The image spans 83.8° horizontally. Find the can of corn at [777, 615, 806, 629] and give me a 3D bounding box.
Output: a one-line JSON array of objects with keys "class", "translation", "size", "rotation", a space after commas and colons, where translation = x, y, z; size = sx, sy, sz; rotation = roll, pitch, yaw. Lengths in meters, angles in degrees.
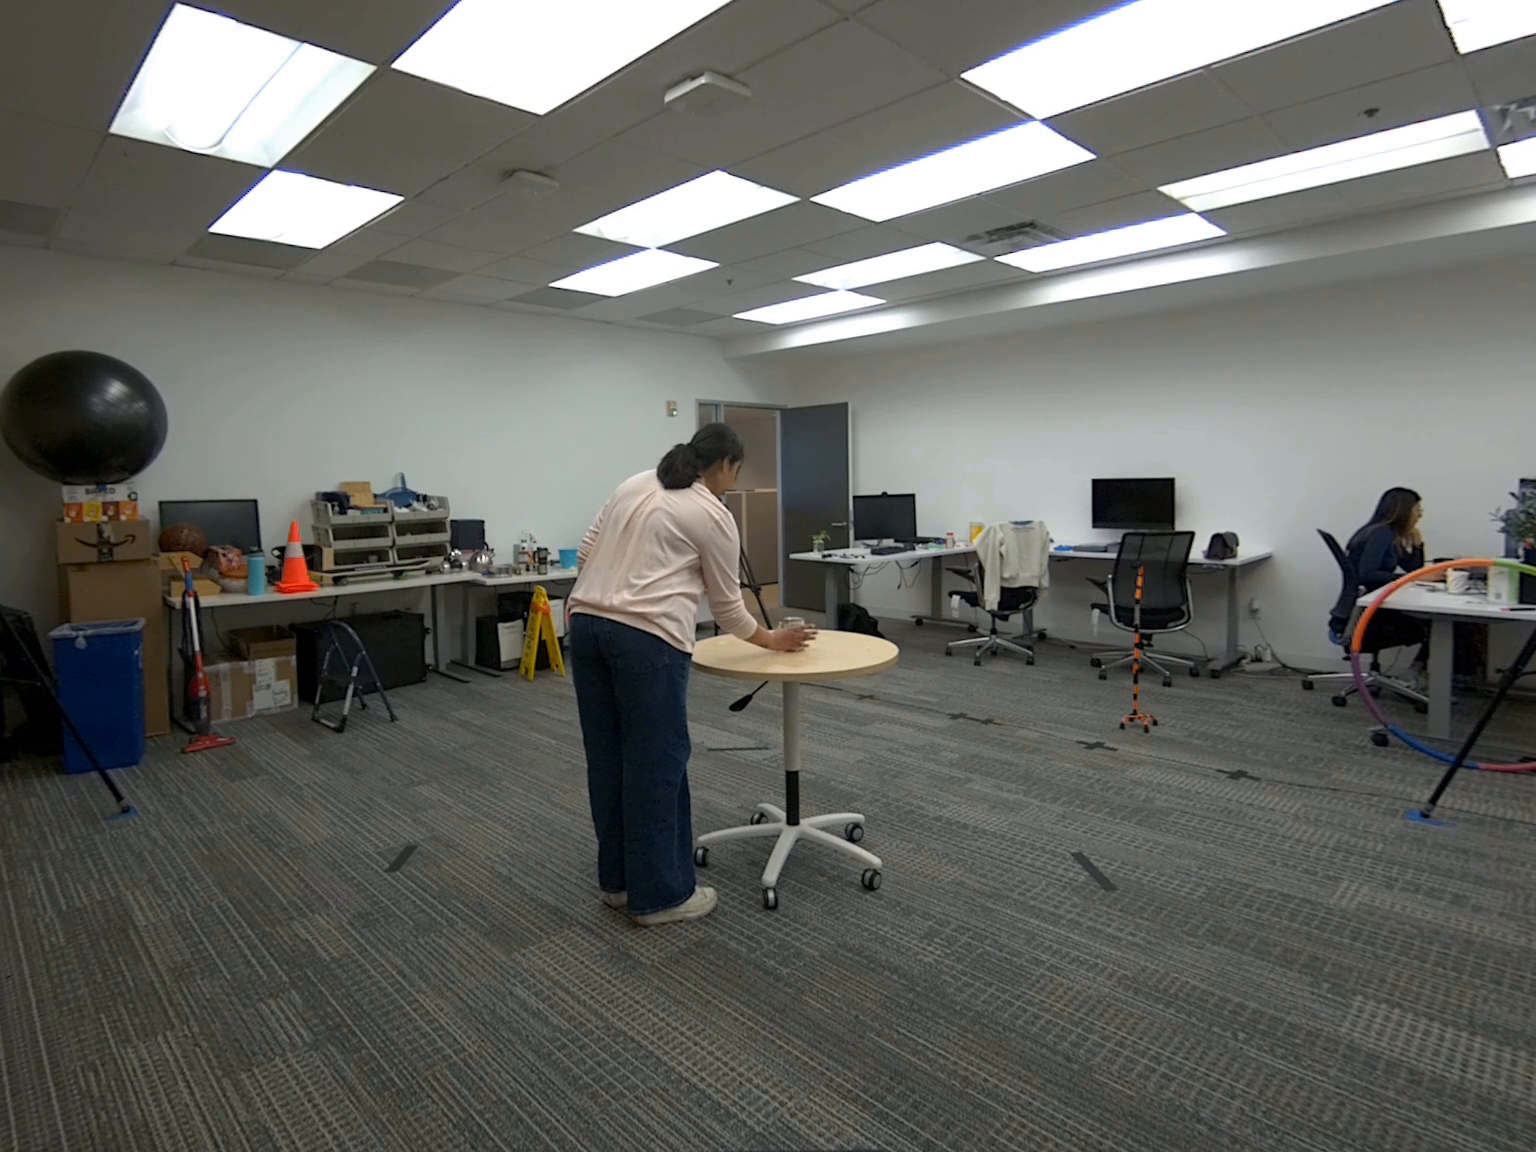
[{"class": "can of corn", "translation": [0.095, 0.209, 3.047], "size": [0.074, 0.110, 0.075], "rotation": [2, 8, -2]}]
